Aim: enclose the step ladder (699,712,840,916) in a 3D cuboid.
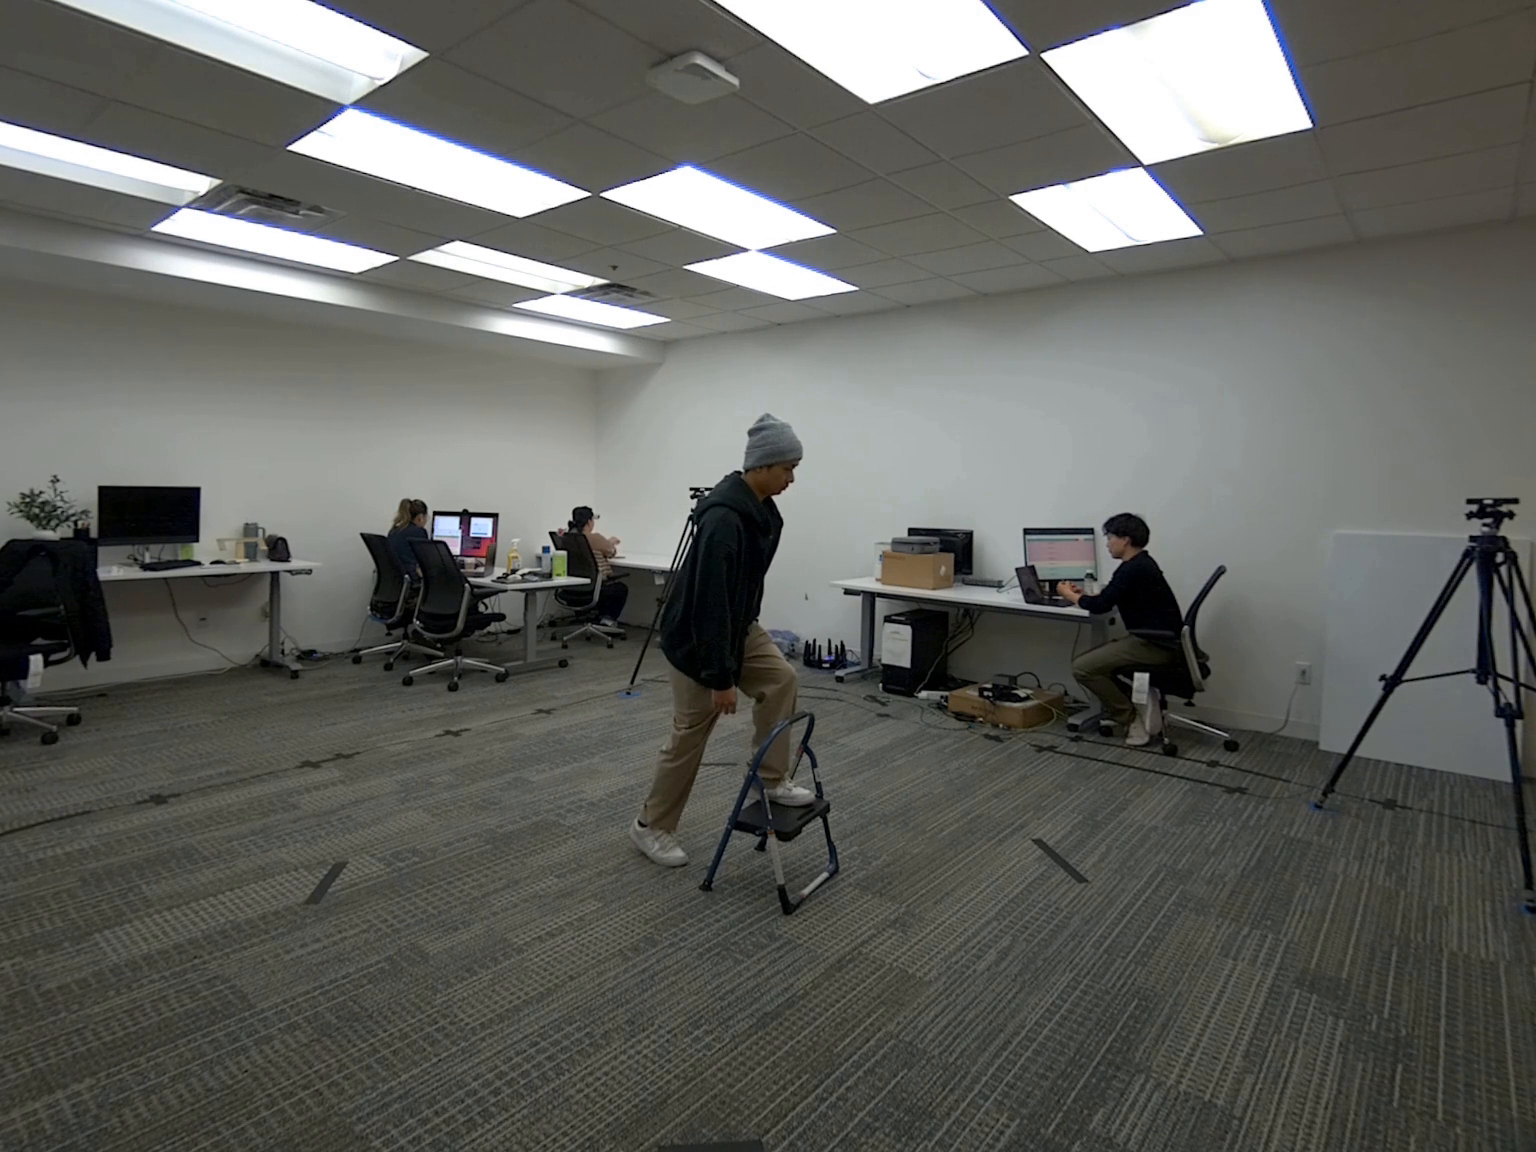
[{"bbox_3d":[0.016,0.779,3.016,0.359,0.604,0.420,3,4,29],"label":"step ladder"}]
